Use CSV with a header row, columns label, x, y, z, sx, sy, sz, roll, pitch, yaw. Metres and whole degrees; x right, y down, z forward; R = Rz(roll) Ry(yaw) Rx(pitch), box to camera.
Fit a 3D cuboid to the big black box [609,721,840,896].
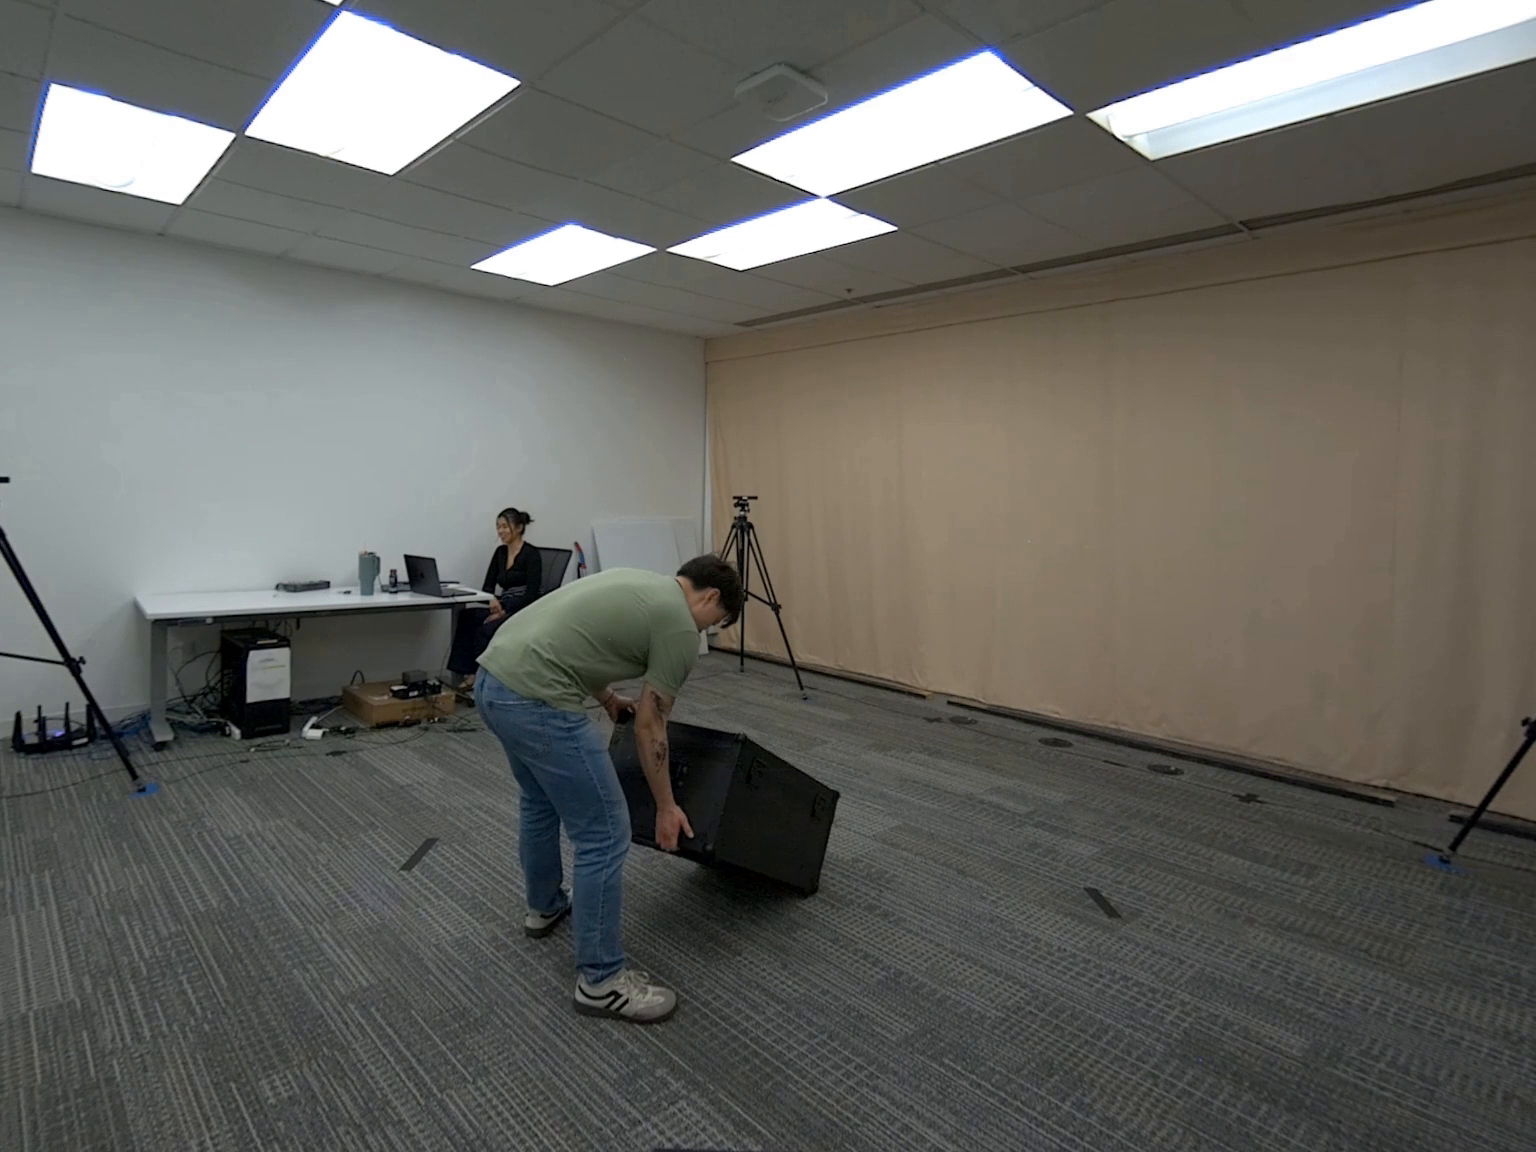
label,x,y,z,sx,sy,sz,roll,pitch,yaw
big black box,-0.144,0.808,2.889,0.533,0.400,0.834,4,-23,32
